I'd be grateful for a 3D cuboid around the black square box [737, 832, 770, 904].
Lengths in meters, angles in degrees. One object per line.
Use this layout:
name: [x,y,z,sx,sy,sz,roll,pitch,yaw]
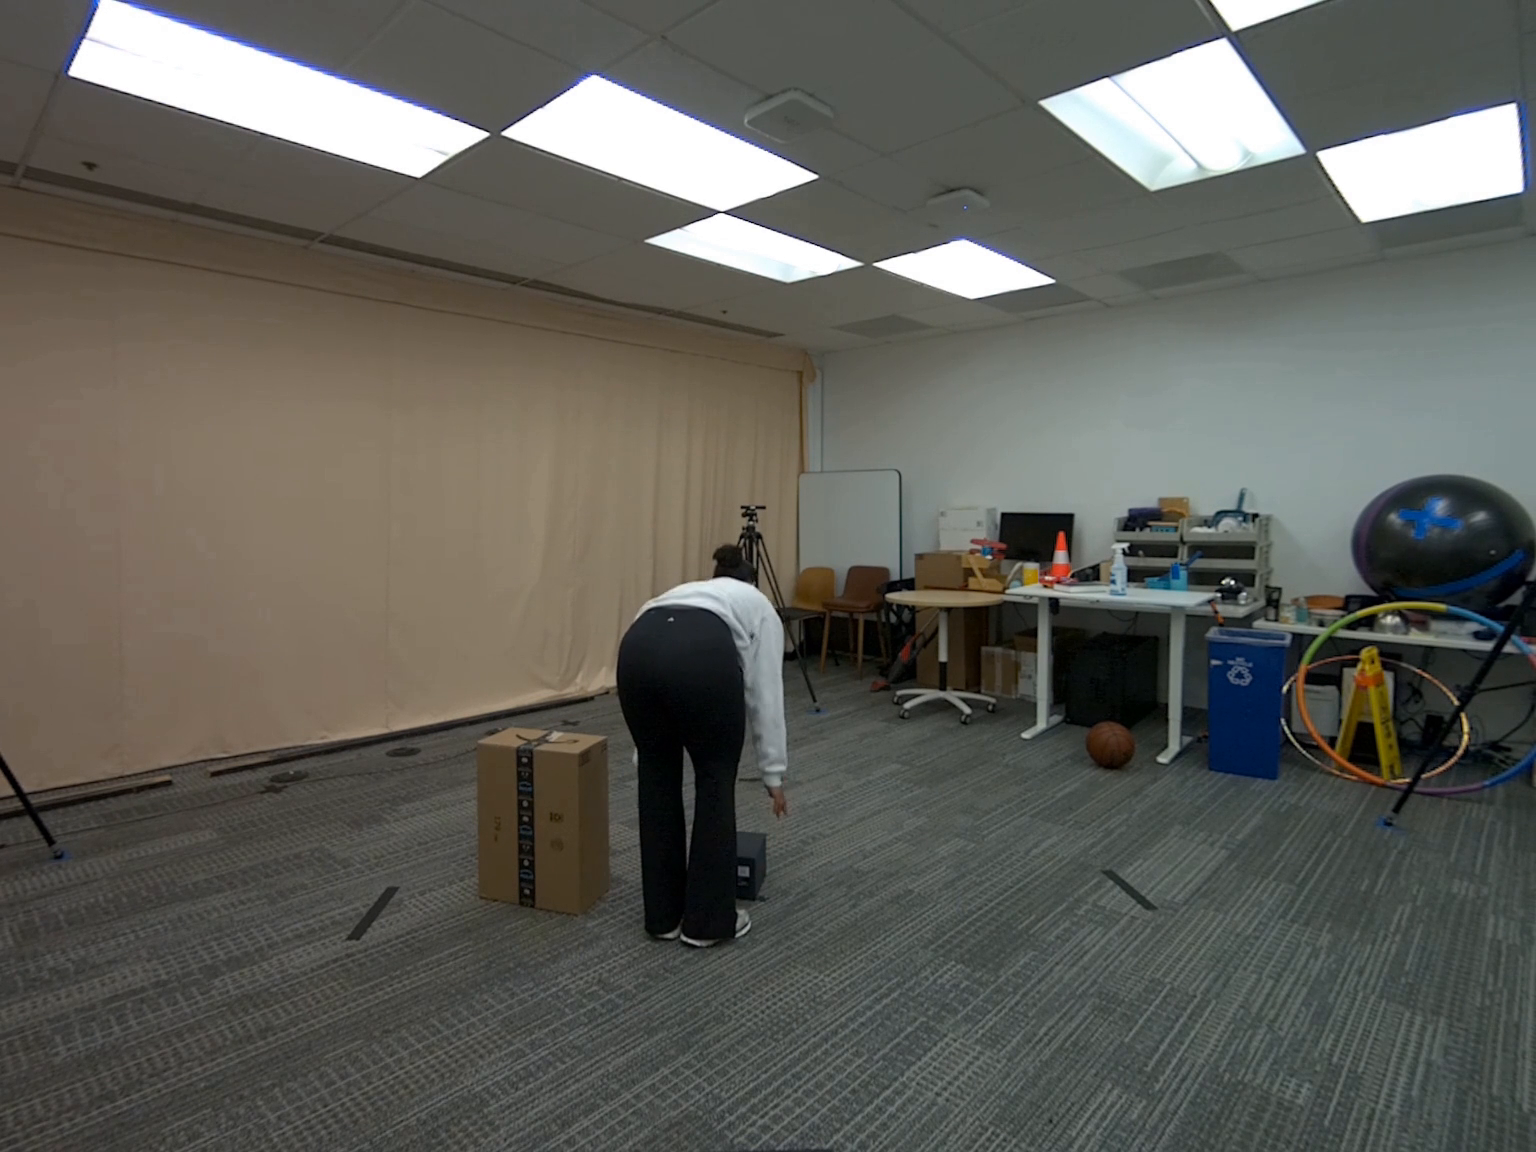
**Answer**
black square box: [-0.125,1.048,3.081,0.220,0.155,0.225,3,3,10]
